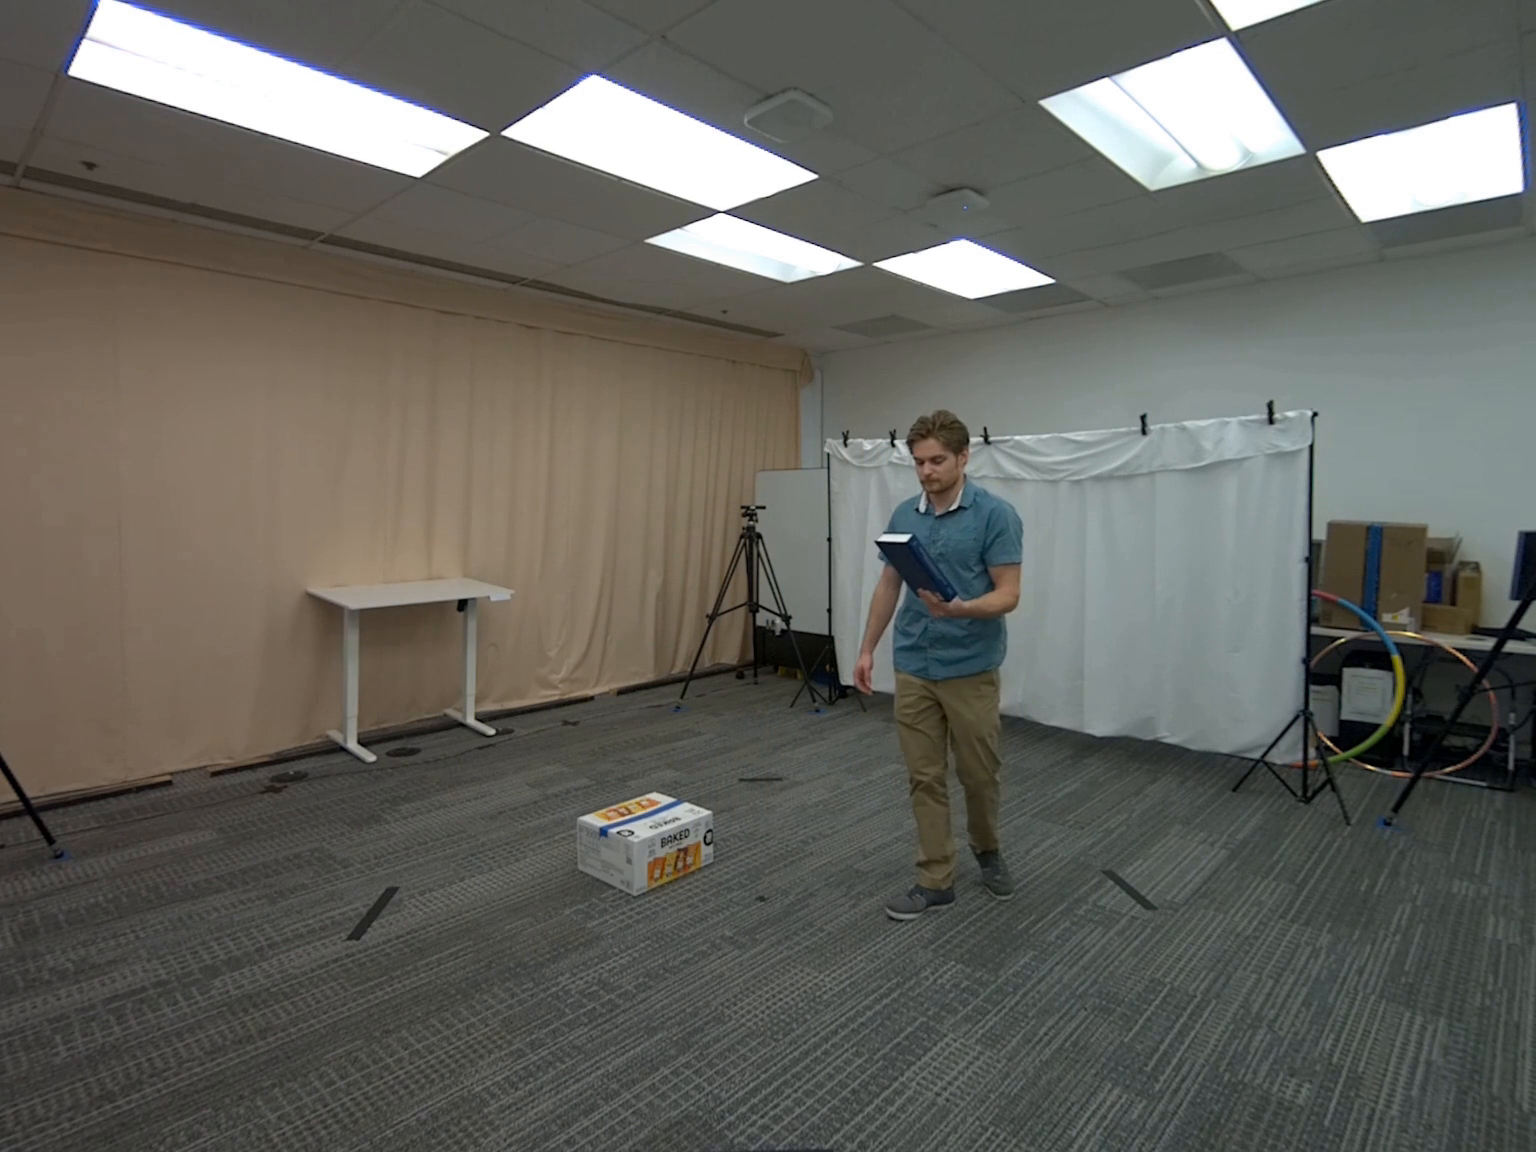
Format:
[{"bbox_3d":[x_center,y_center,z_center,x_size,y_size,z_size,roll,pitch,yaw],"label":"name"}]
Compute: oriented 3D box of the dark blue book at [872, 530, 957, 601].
[{"bbox_3d":[0.438,-0.029,2.540,0.045,0.240,0.167,-43,19,-18],"label":"dark blue book"}]
